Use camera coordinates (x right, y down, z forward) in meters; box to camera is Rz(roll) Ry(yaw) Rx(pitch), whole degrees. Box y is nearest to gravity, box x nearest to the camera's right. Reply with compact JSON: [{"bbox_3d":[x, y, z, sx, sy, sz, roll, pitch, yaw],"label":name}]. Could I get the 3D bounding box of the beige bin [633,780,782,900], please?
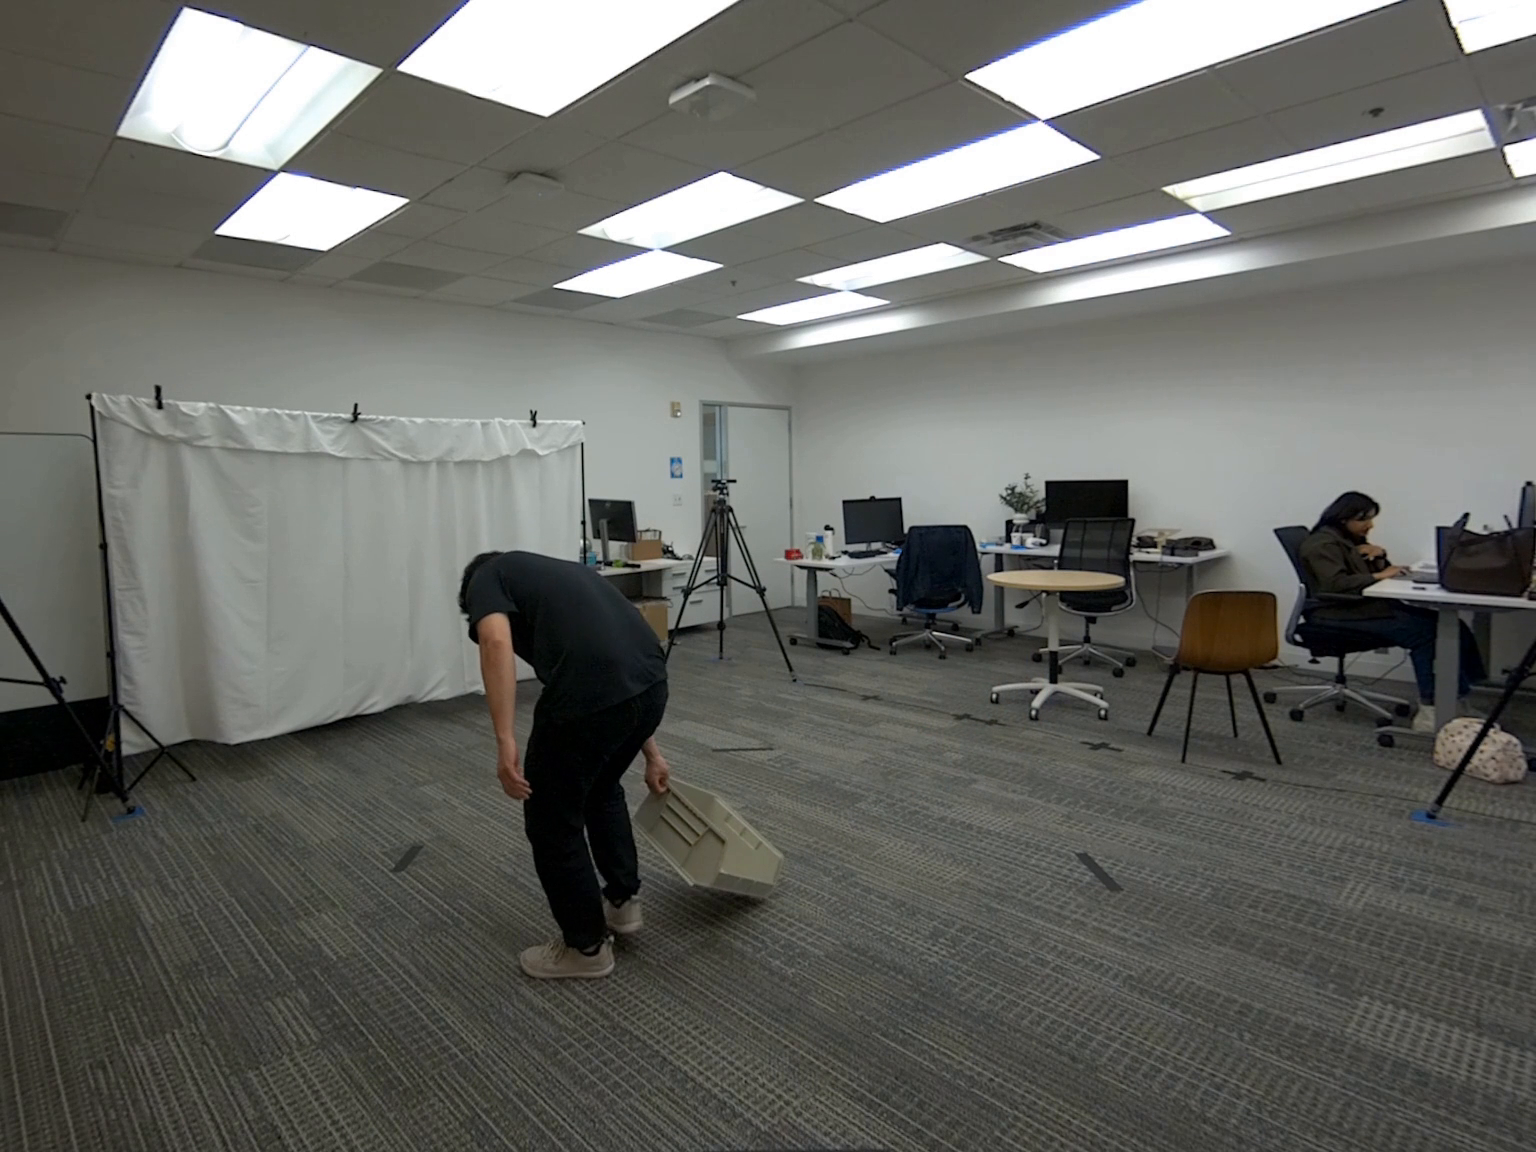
[{"bbox_3d":[-0.181,0.868,2.796,0.391,0.189,0.407,32,-6,34],"label":"beige bin"}]
